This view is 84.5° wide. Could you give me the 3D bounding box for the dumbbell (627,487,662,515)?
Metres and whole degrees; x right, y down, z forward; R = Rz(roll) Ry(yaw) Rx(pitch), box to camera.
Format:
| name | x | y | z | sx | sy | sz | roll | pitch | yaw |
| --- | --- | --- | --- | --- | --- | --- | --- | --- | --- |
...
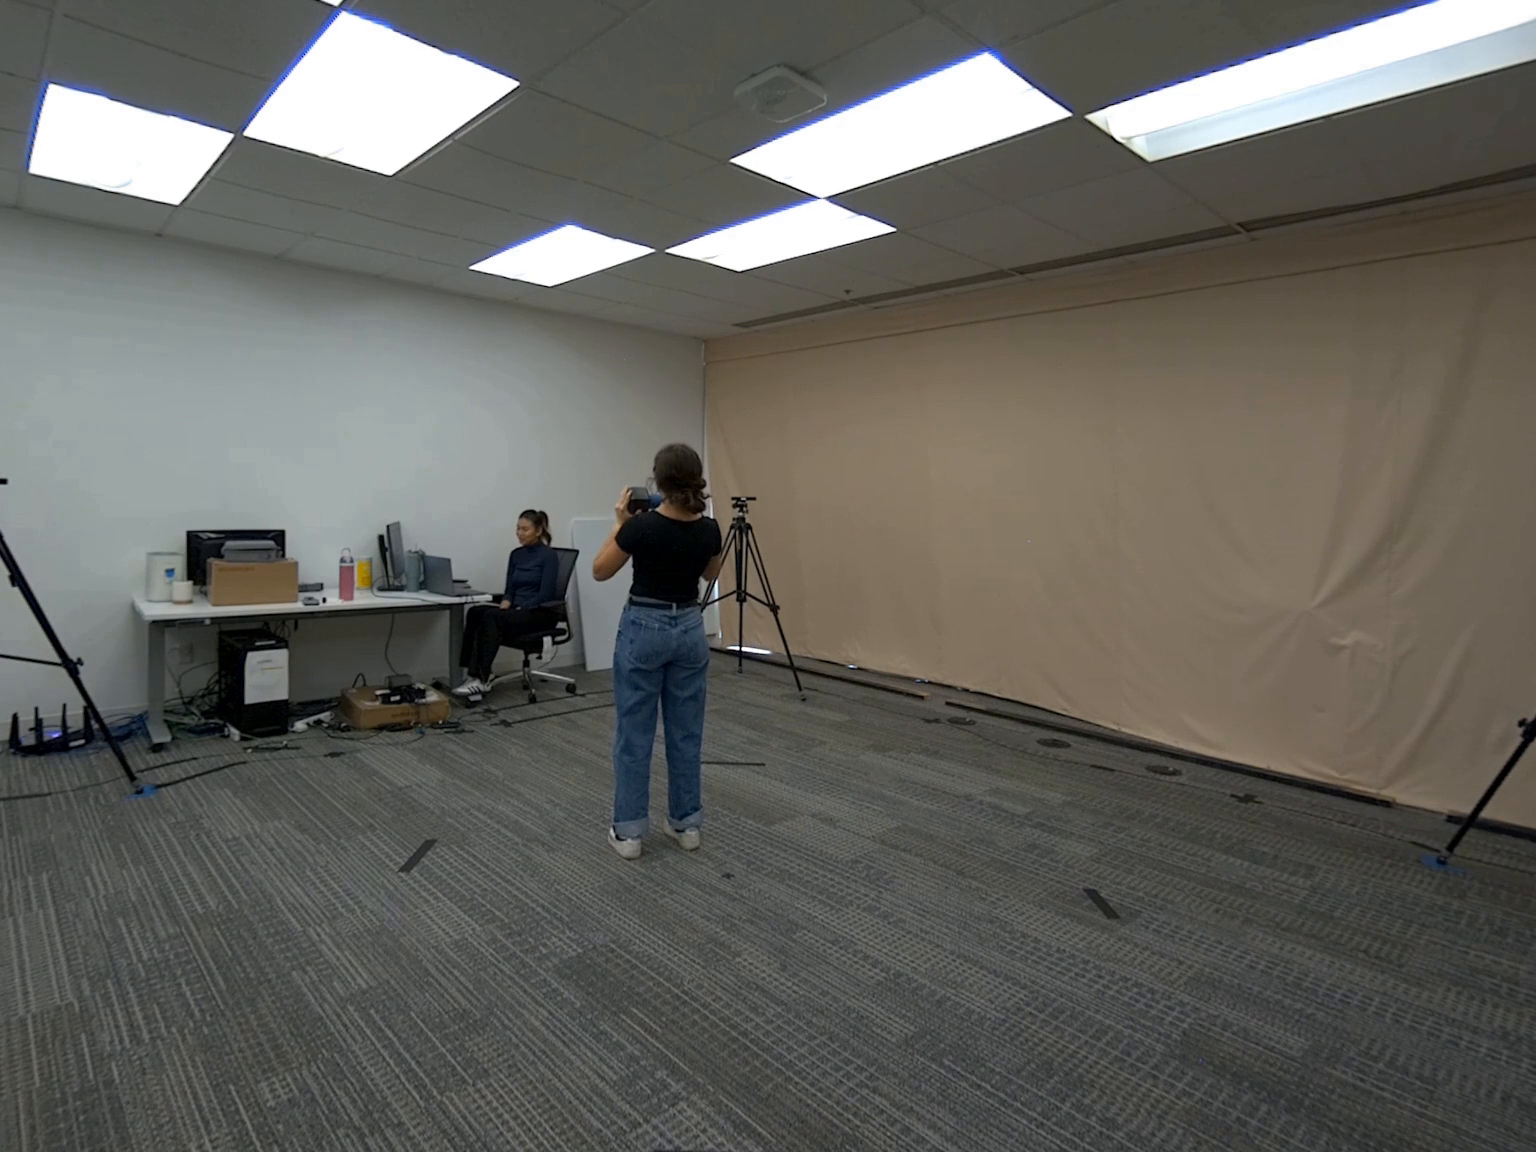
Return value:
| name | x | y | z | sx | sy | sz | roll | pitch | yaw |
| --- | --- | --- | --- | --- | --- | --- | --- | --- | --- |
| dumbbell | -0.436 | -0.300 | 3.377 | 0.289 | 0.126 | 0.107 | -3 | -36 | -24 |
